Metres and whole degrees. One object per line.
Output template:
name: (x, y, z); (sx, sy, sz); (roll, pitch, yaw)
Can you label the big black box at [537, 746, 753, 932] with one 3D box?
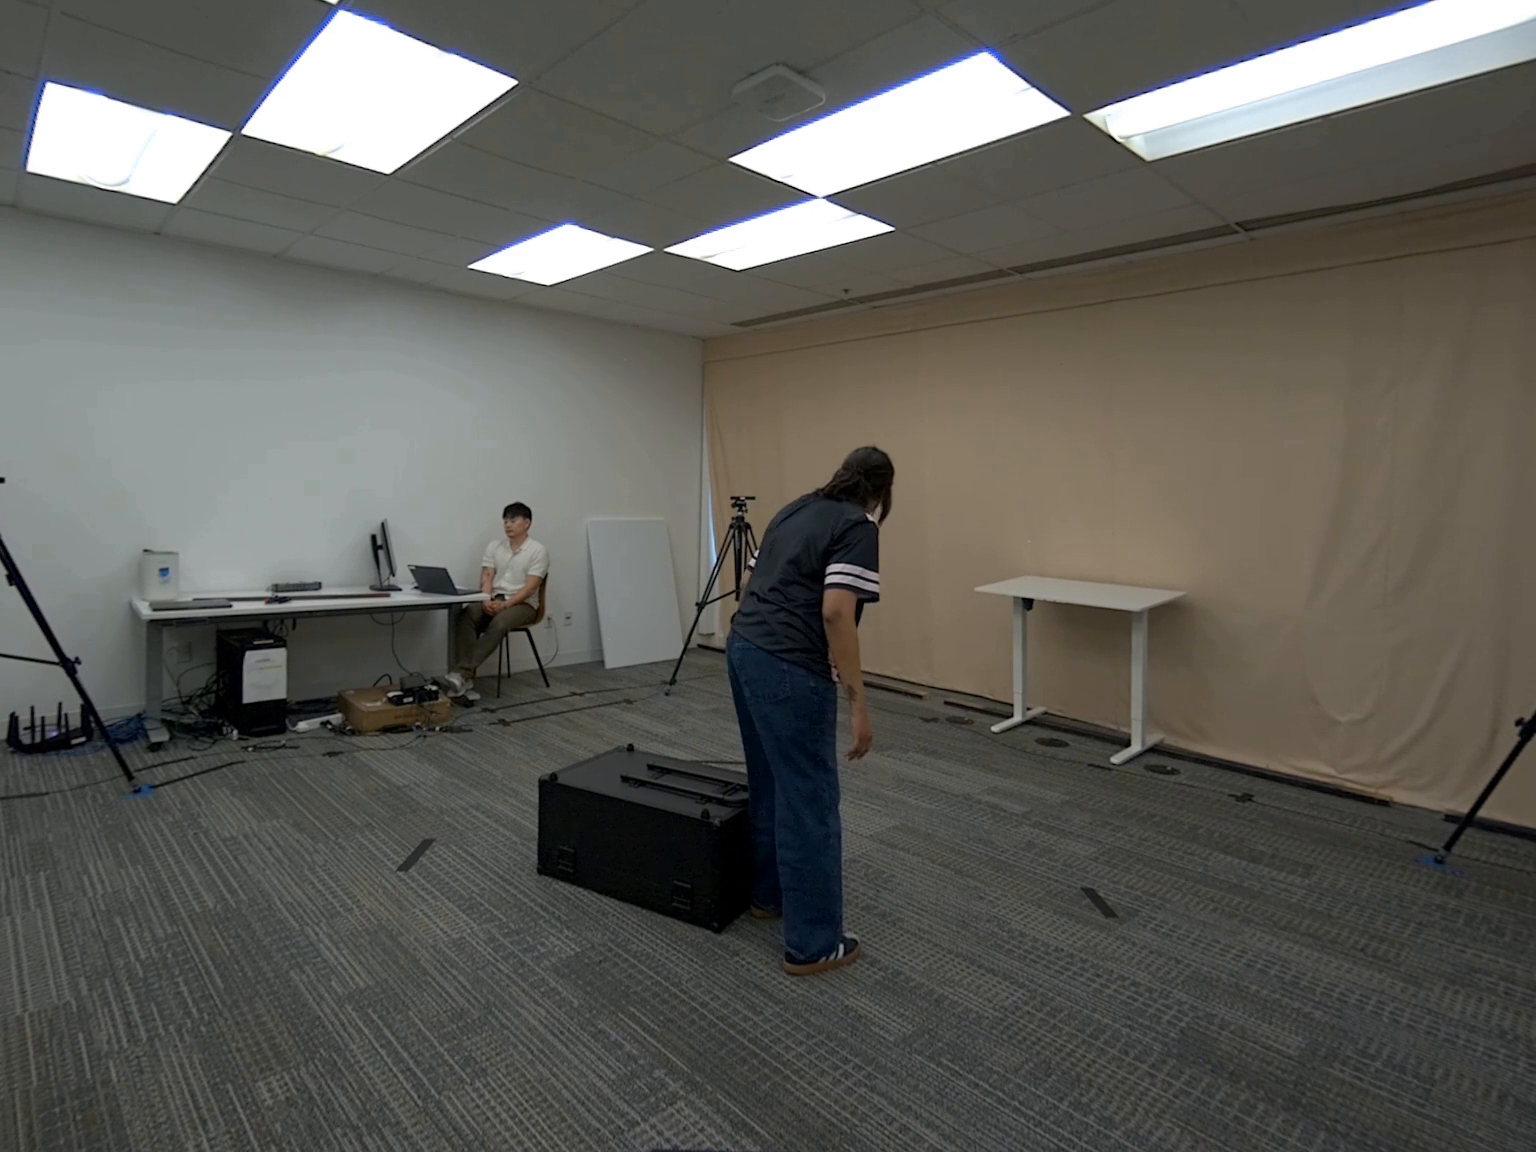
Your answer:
big black box: (-0.426, 0.915, 3.087); (0.887, 0.384, 0.514); (4, 6, 29)
